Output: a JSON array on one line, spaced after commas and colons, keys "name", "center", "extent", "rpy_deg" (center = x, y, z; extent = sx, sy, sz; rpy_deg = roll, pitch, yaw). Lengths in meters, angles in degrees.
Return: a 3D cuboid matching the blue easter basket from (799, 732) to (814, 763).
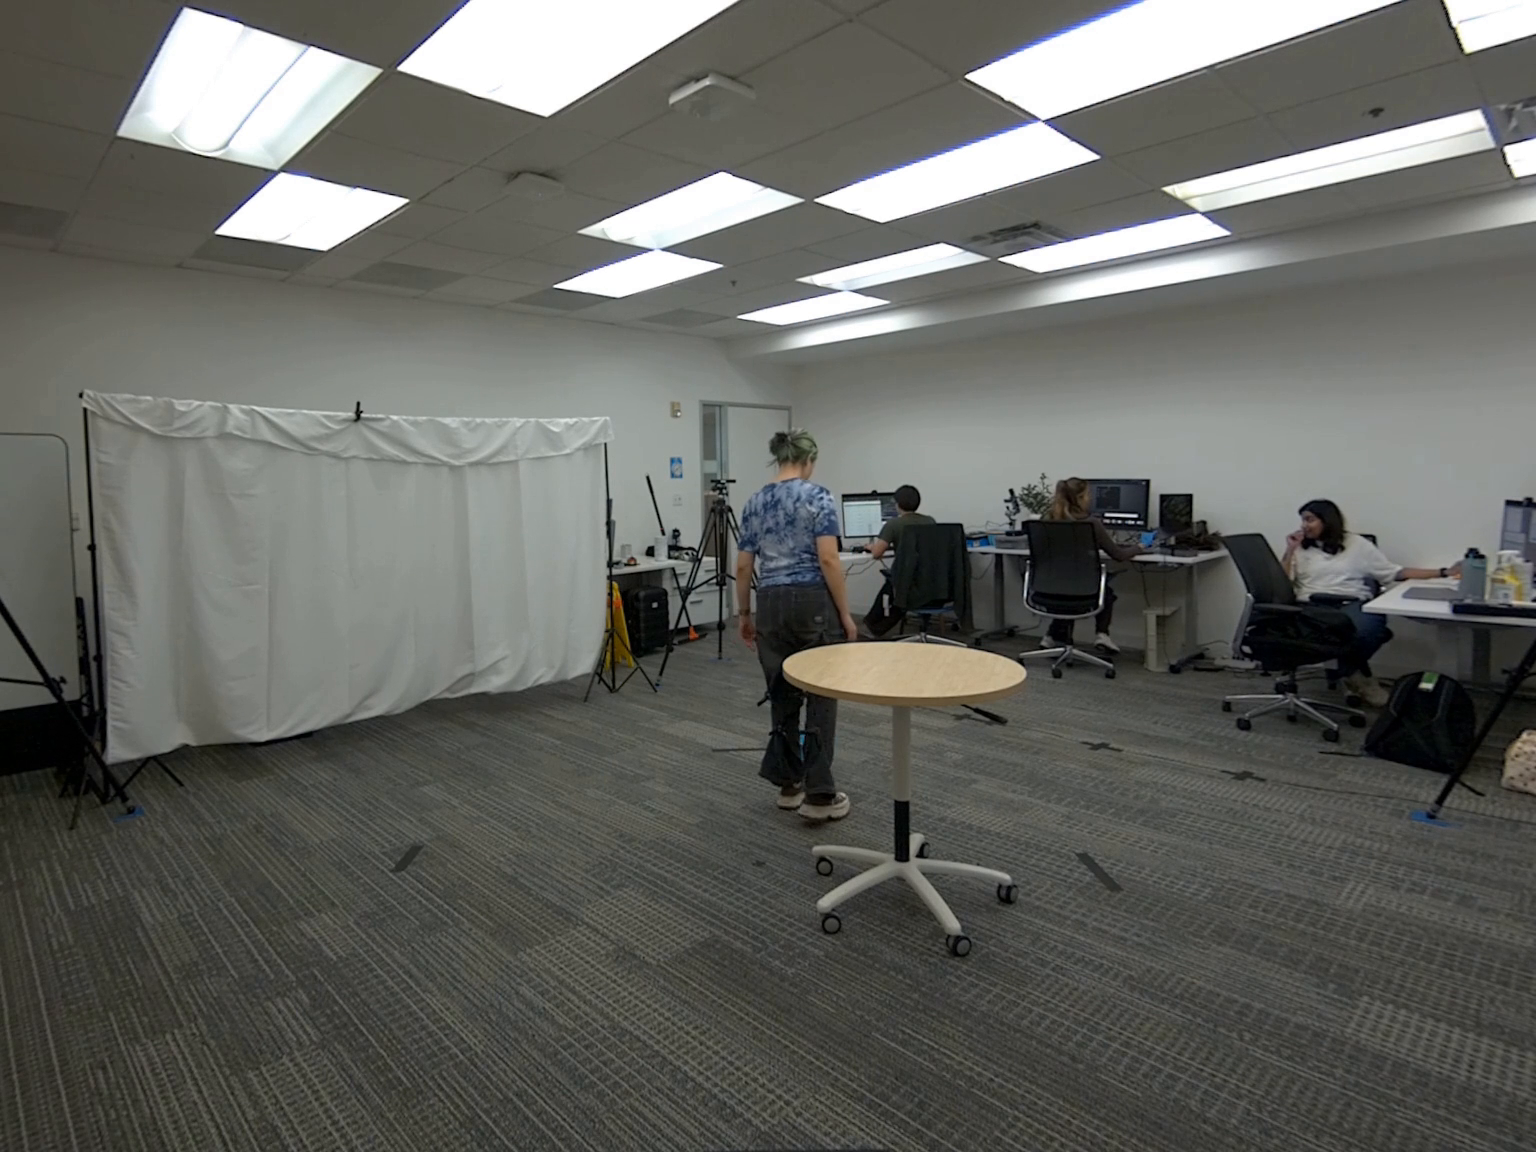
[{"name": "blue easter basket", "center": [0.200, 0.853, 4.119], "extent": [0.243, 0.155, 0.245], "rpy_deg": [-2, 5, -1]}]
